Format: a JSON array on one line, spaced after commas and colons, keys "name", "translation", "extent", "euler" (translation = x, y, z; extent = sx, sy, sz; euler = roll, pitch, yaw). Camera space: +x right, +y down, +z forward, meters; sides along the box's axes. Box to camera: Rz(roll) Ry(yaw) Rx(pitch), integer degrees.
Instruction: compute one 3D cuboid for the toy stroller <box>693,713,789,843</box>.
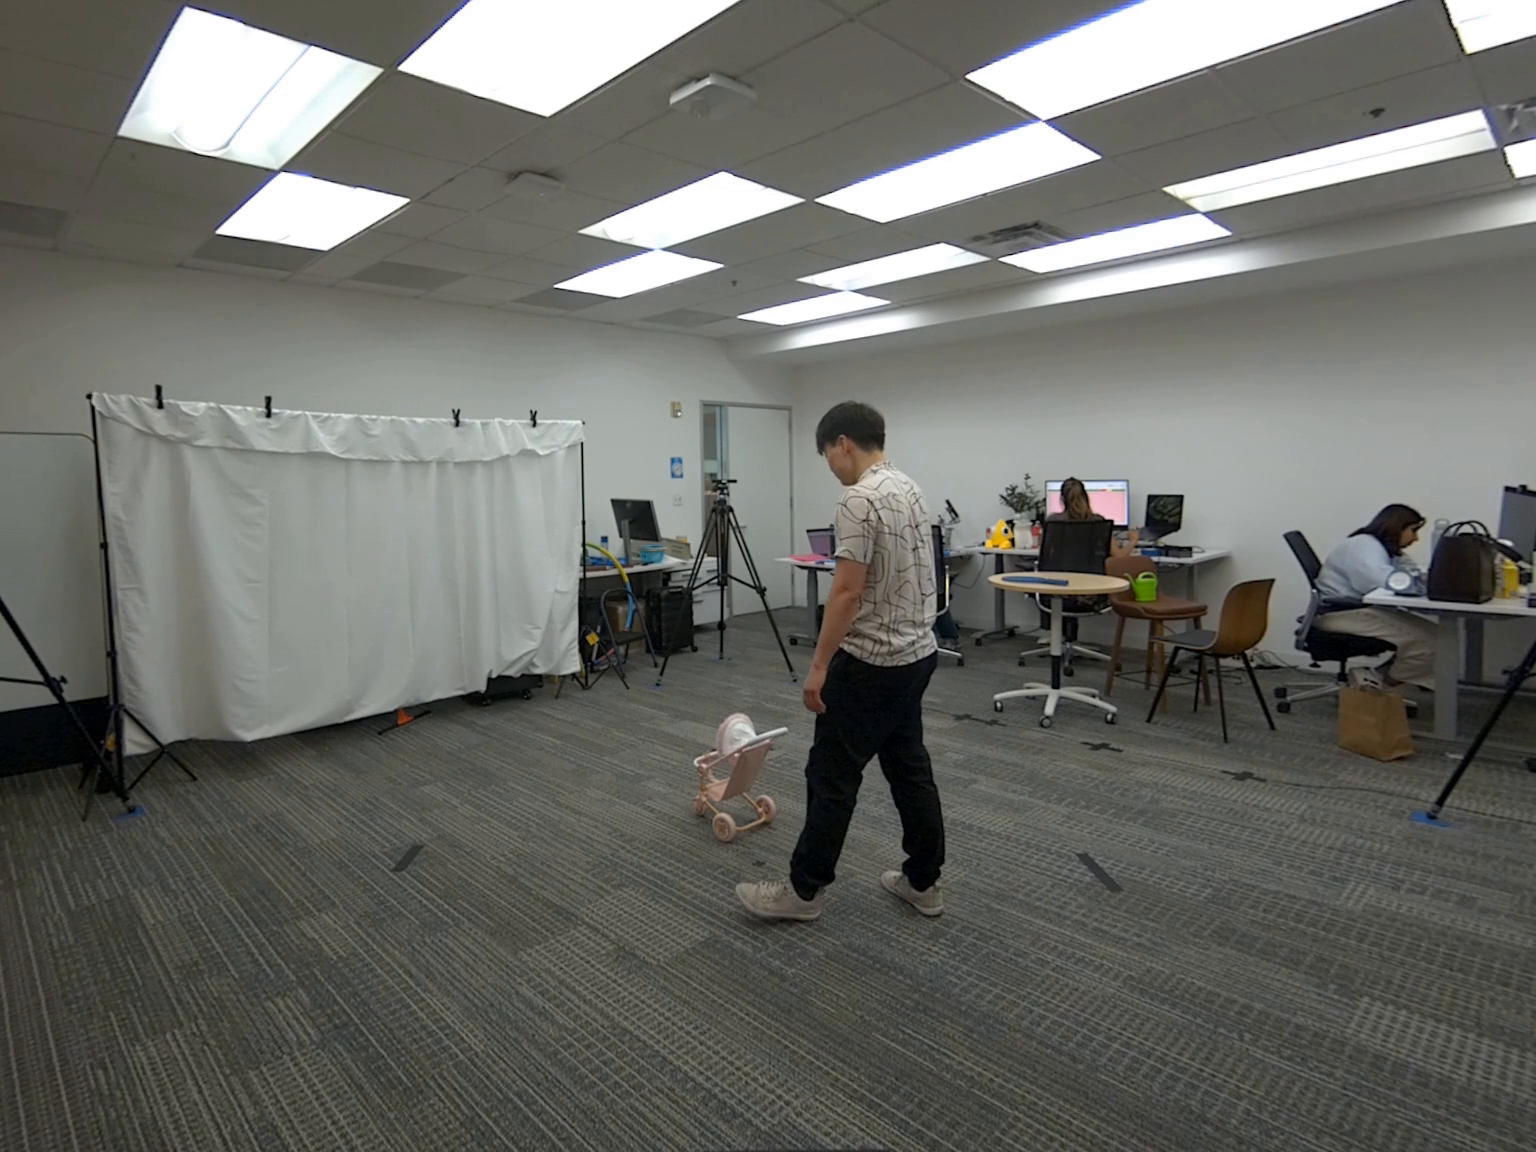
[{"name": "toy stroller", "translation": [-0.139, 0.788, 3.431], "extent": [0.274, 0.529, 0.354], "euler": [-3, 20, -45]}]
